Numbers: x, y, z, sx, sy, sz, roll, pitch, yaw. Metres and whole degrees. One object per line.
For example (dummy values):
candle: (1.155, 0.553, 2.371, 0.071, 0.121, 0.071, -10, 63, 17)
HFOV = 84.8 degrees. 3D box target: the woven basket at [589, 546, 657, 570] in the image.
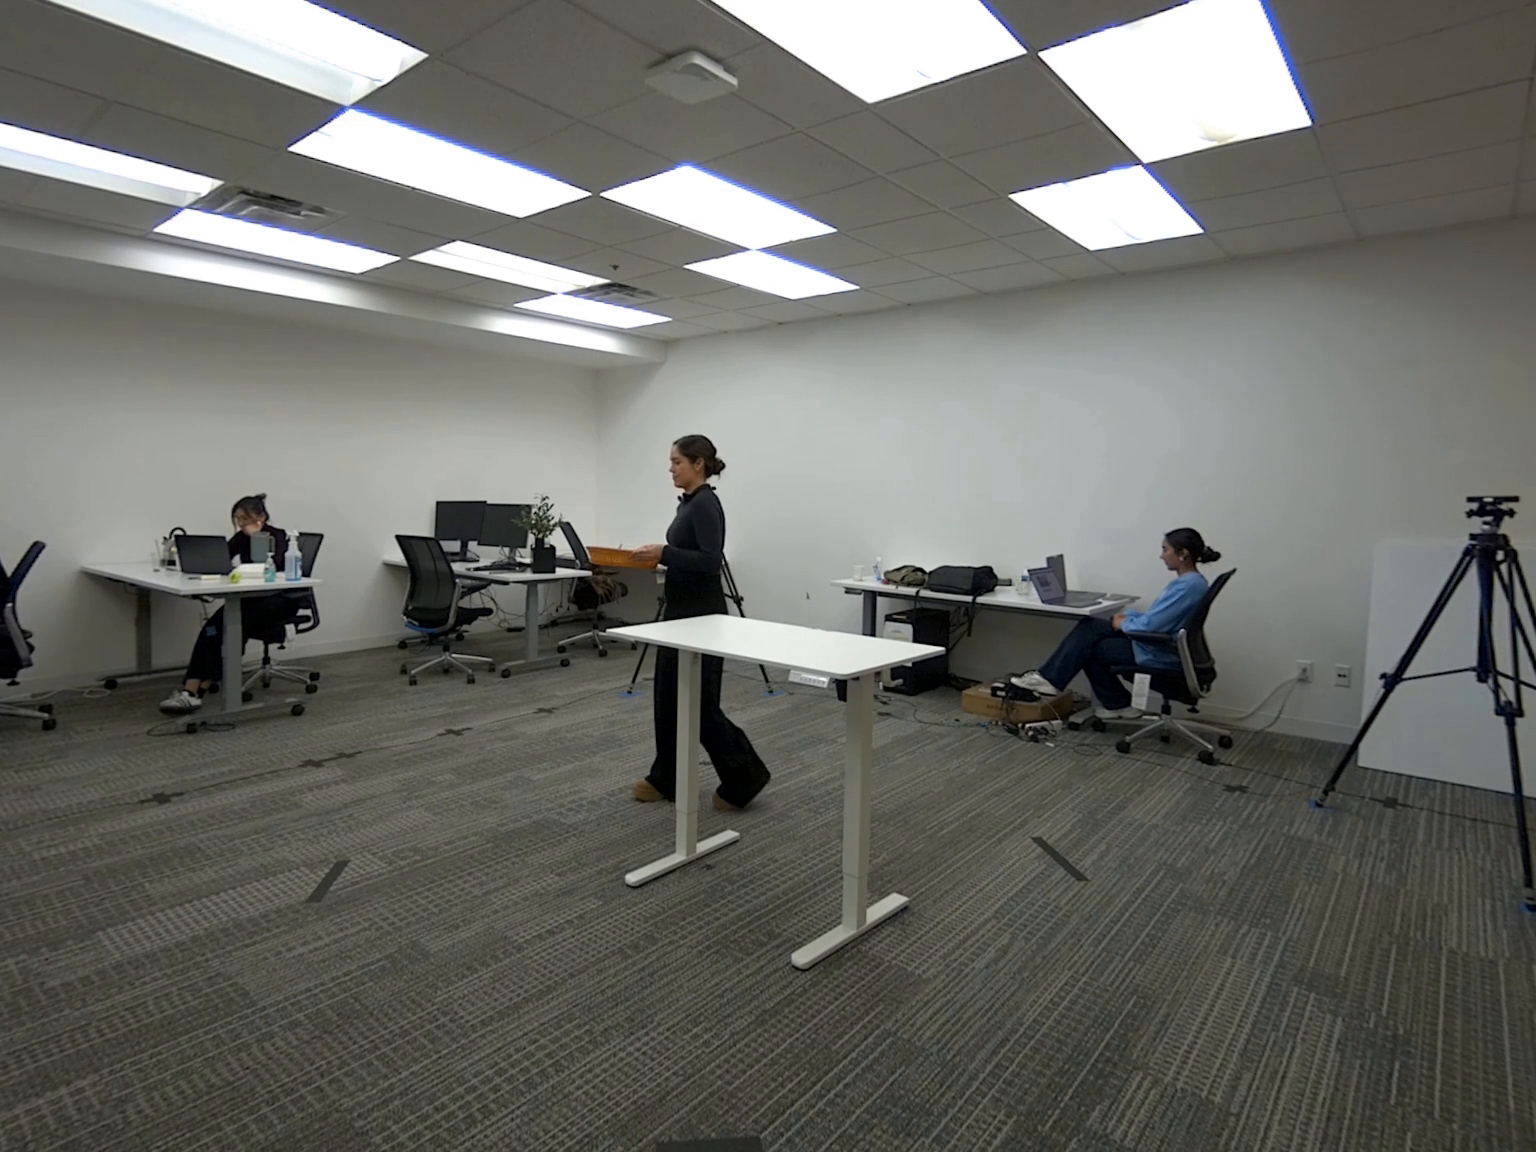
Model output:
woven basket: (-0.582, -0.081, 3.740, 0.347, 0.073, 0.255, 1, 2, -9)
